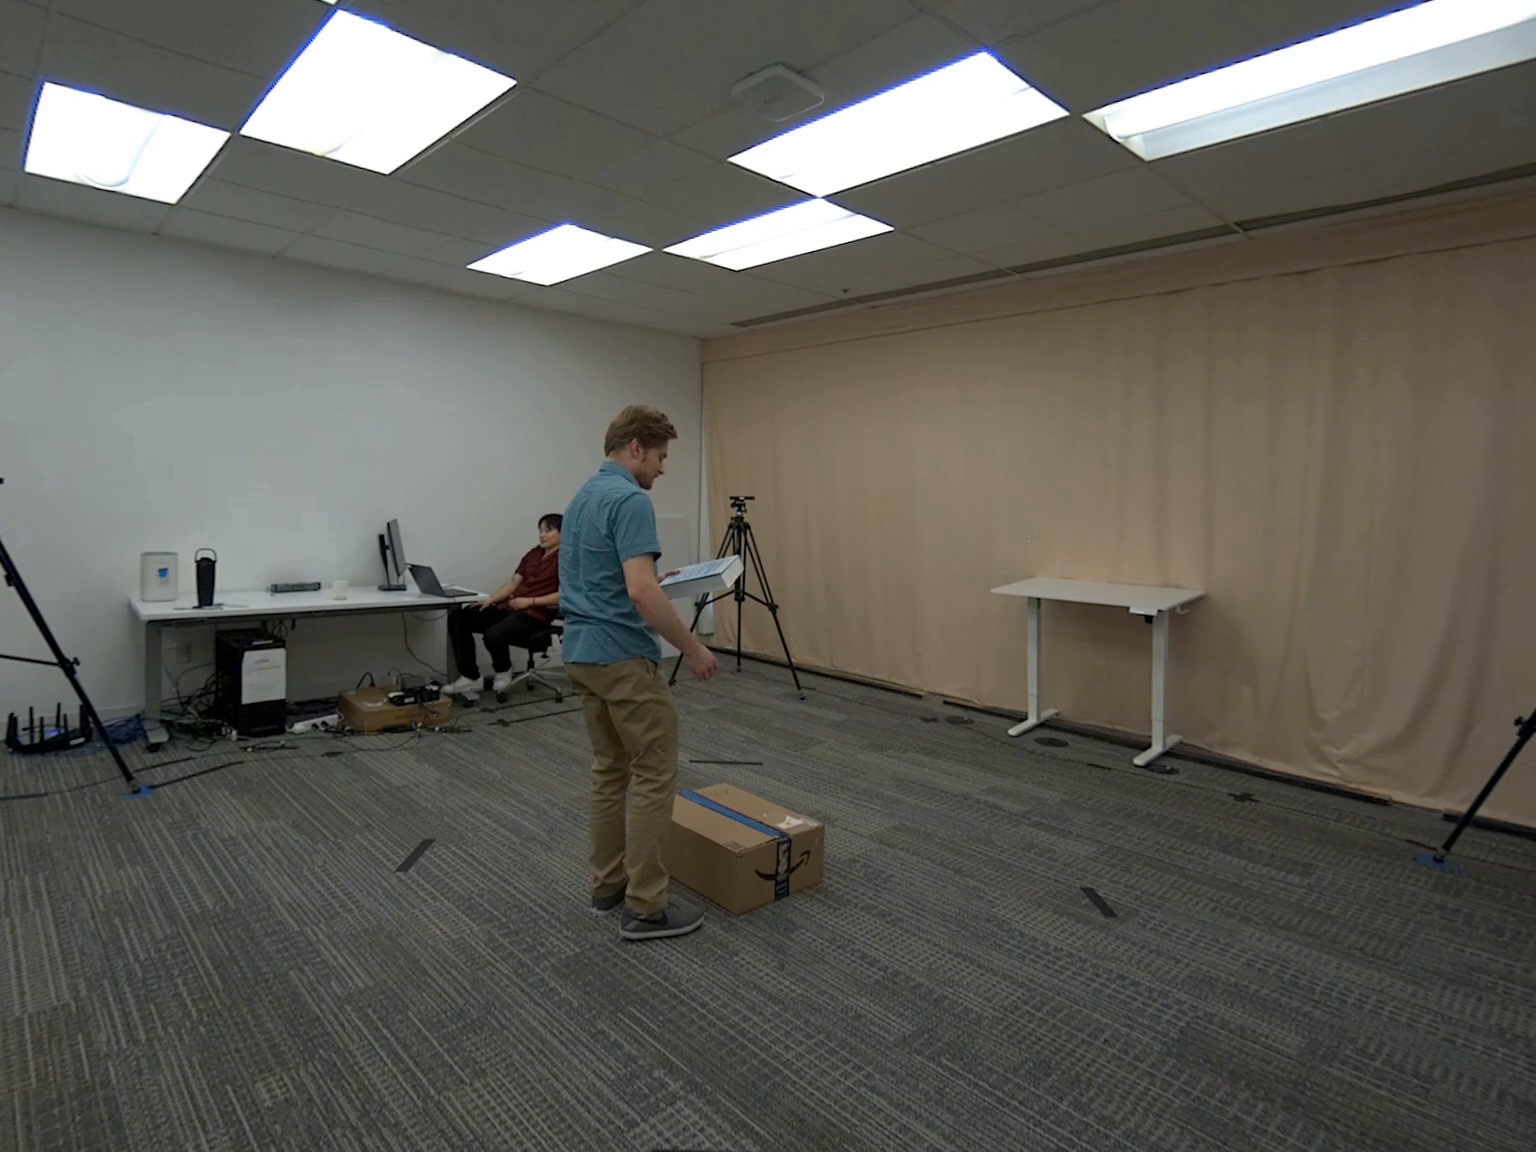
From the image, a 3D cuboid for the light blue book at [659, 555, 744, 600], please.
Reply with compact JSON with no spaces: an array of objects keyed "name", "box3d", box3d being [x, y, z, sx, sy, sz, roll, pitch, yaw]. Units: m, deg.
[{"name":"light blue book","box3d":[-0.249,0.004,3.005,0.264,0.058,0.191,-12,16,20]}]
